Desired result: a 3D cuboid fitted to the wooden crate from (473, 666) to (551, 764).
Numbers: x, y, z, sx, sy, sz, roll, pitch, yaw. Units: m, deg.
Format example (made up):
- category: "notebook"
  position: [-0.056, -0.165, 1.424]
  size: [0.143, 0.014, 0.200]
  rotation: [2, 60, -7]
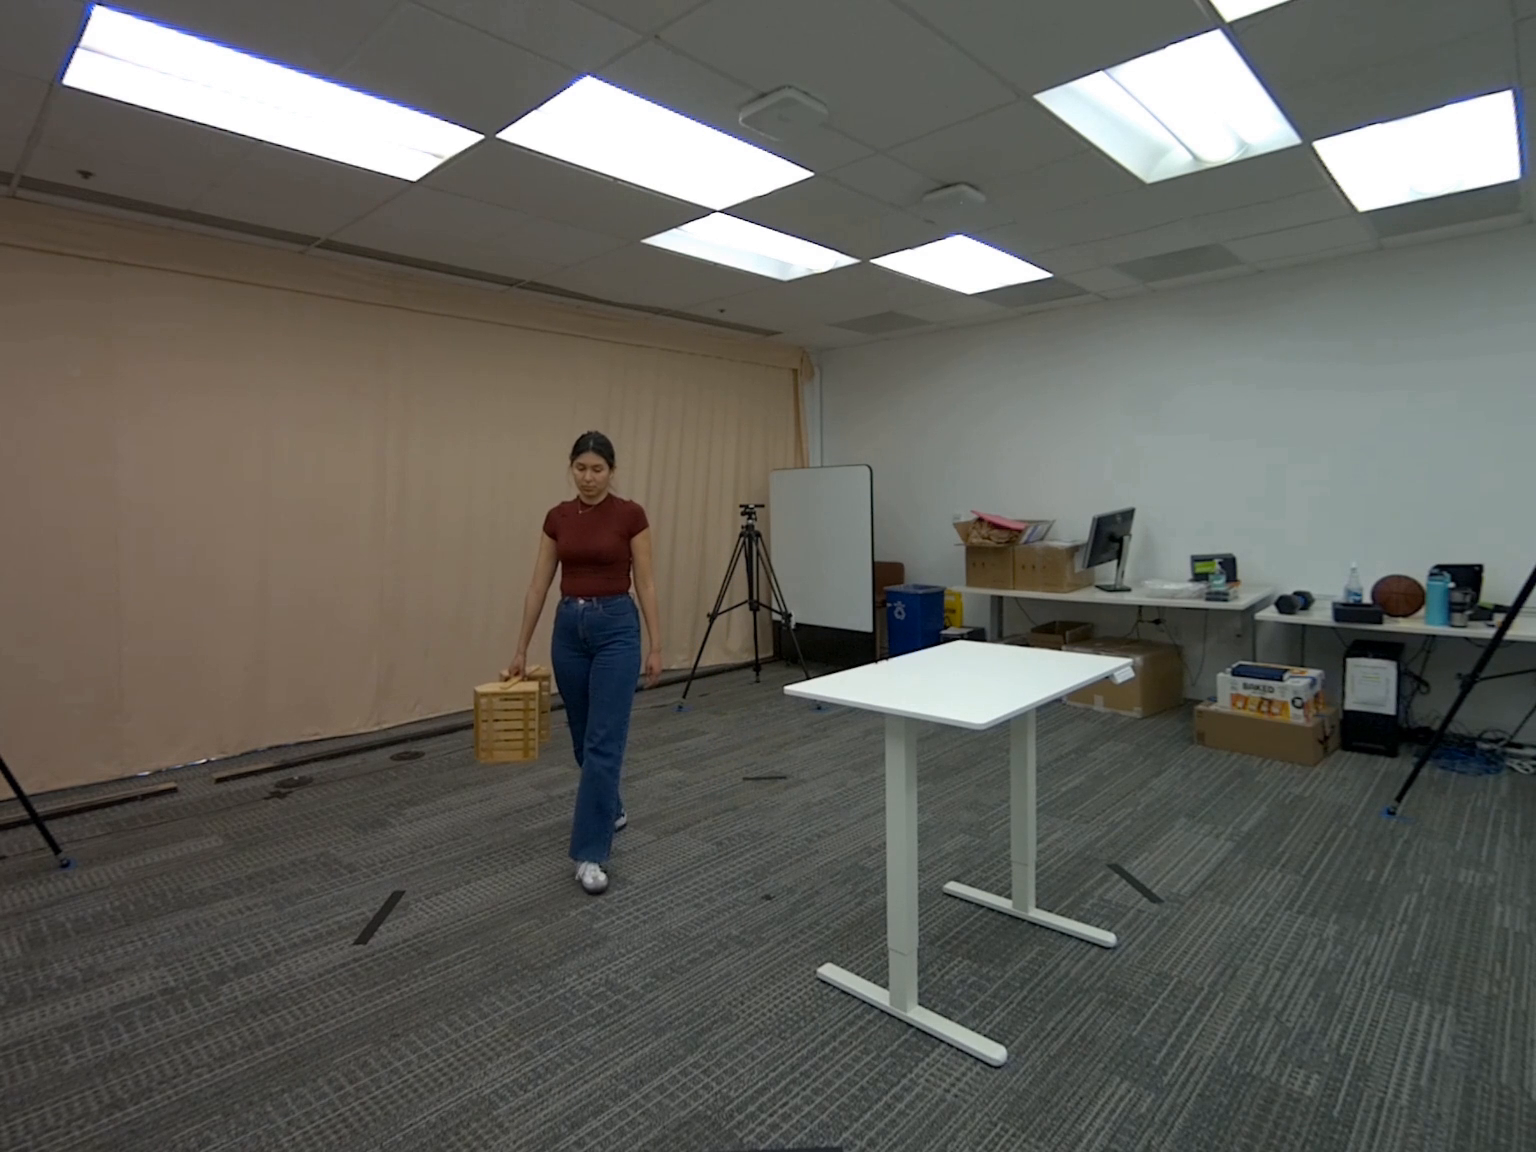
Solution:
- category: "wooden crate"
  position: [-1.042, 0.562, 3.452]
  size: [0.298, 0.322, 0.279]
  rotation: [1, 13, -12]
